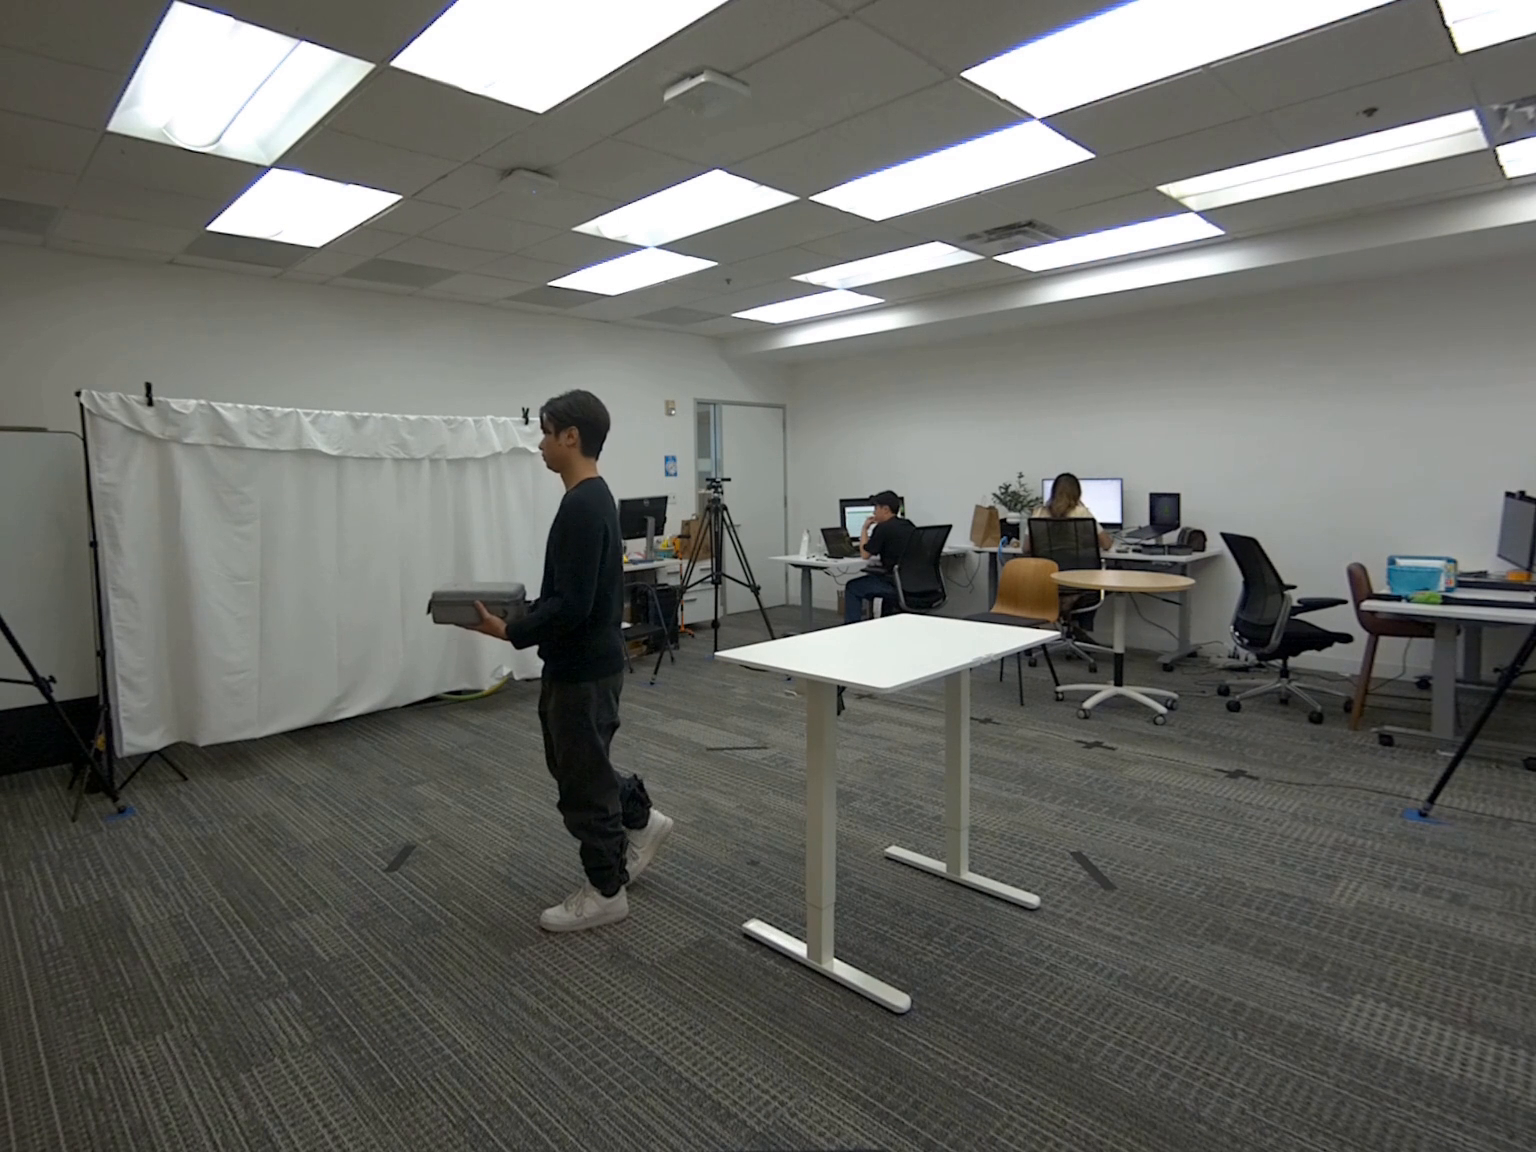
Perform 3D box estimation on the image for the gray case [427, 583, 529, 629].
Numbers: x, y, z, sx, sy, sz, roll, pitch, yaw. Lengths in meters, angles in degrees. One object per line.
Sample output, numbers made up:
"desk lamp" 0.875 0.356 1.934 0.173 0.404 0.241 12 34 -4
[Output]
"gray case" -0.881 0.074 2.622 0.255 0.104 0.263 0 3 -7
